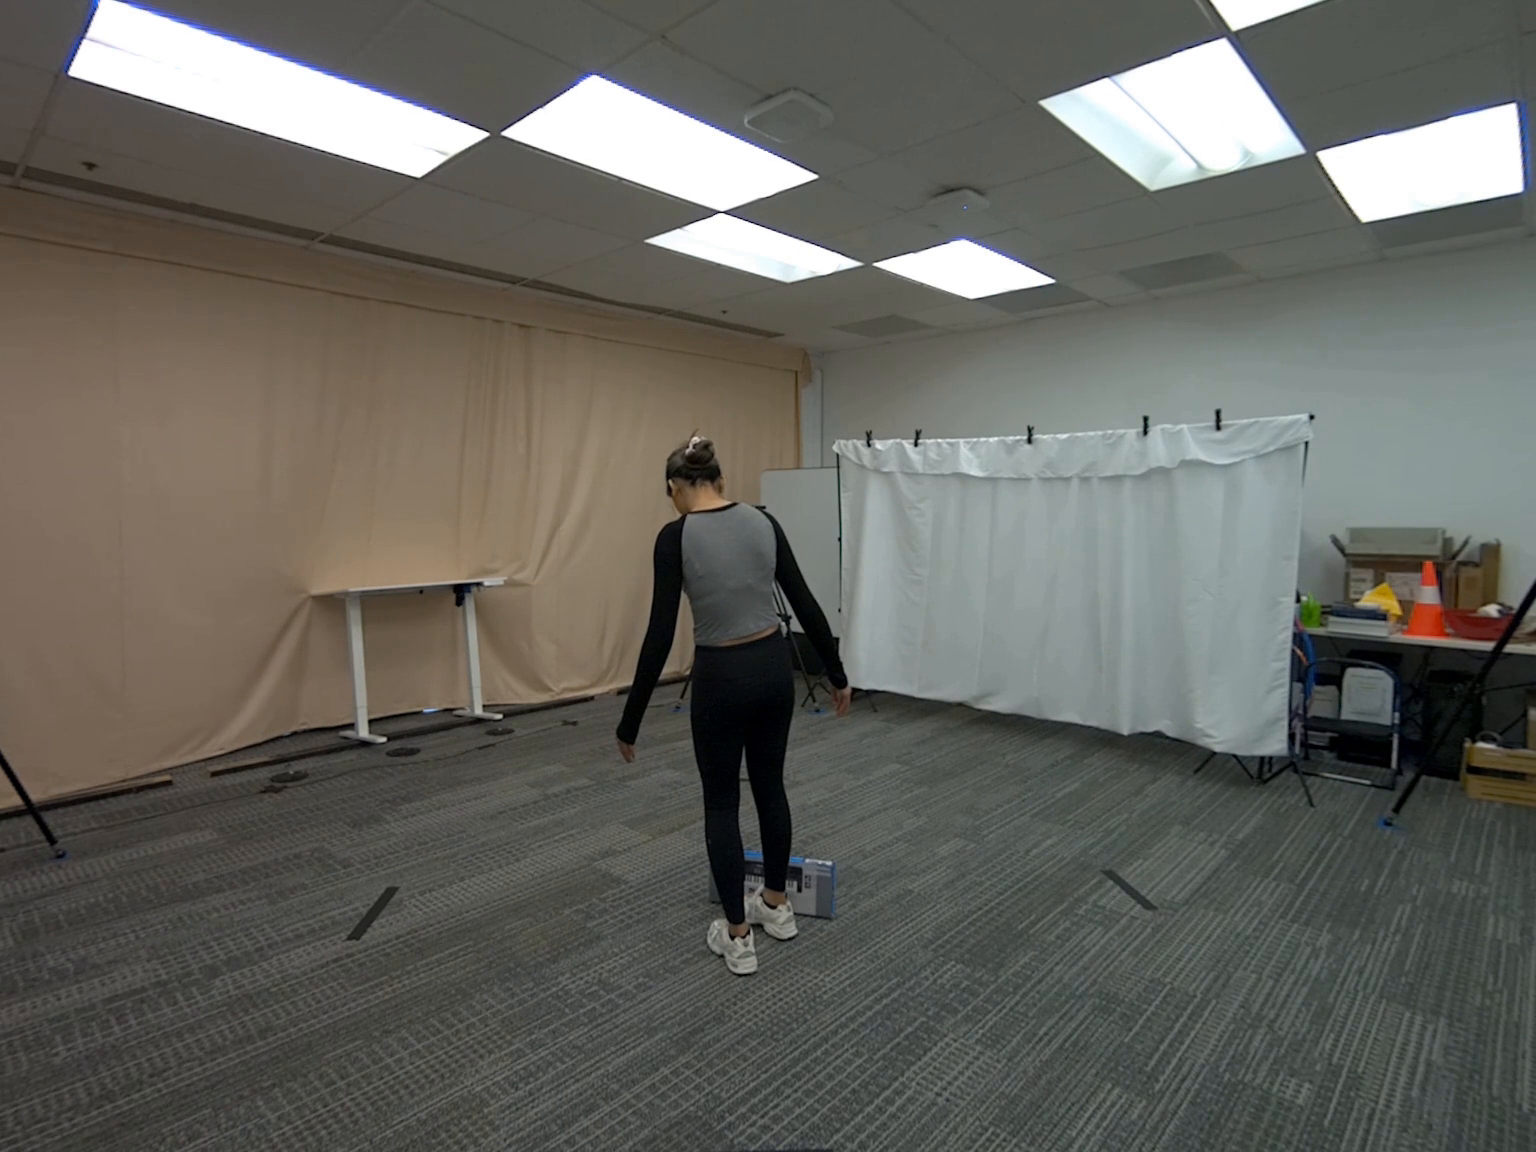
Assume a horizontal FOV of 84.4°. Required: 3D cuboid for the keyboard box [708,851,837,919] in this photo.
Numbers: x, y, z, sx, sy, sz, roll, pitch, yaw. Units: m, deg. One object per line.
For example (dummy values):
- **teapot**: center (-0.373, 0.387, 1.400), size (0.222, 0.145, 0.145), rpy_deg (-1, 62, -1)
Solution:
- **keyboard box**: center (0.018, 1.059, 2.919), size (0.444, 0.176, 0.058), rpy_deg (2, -4, 16)
